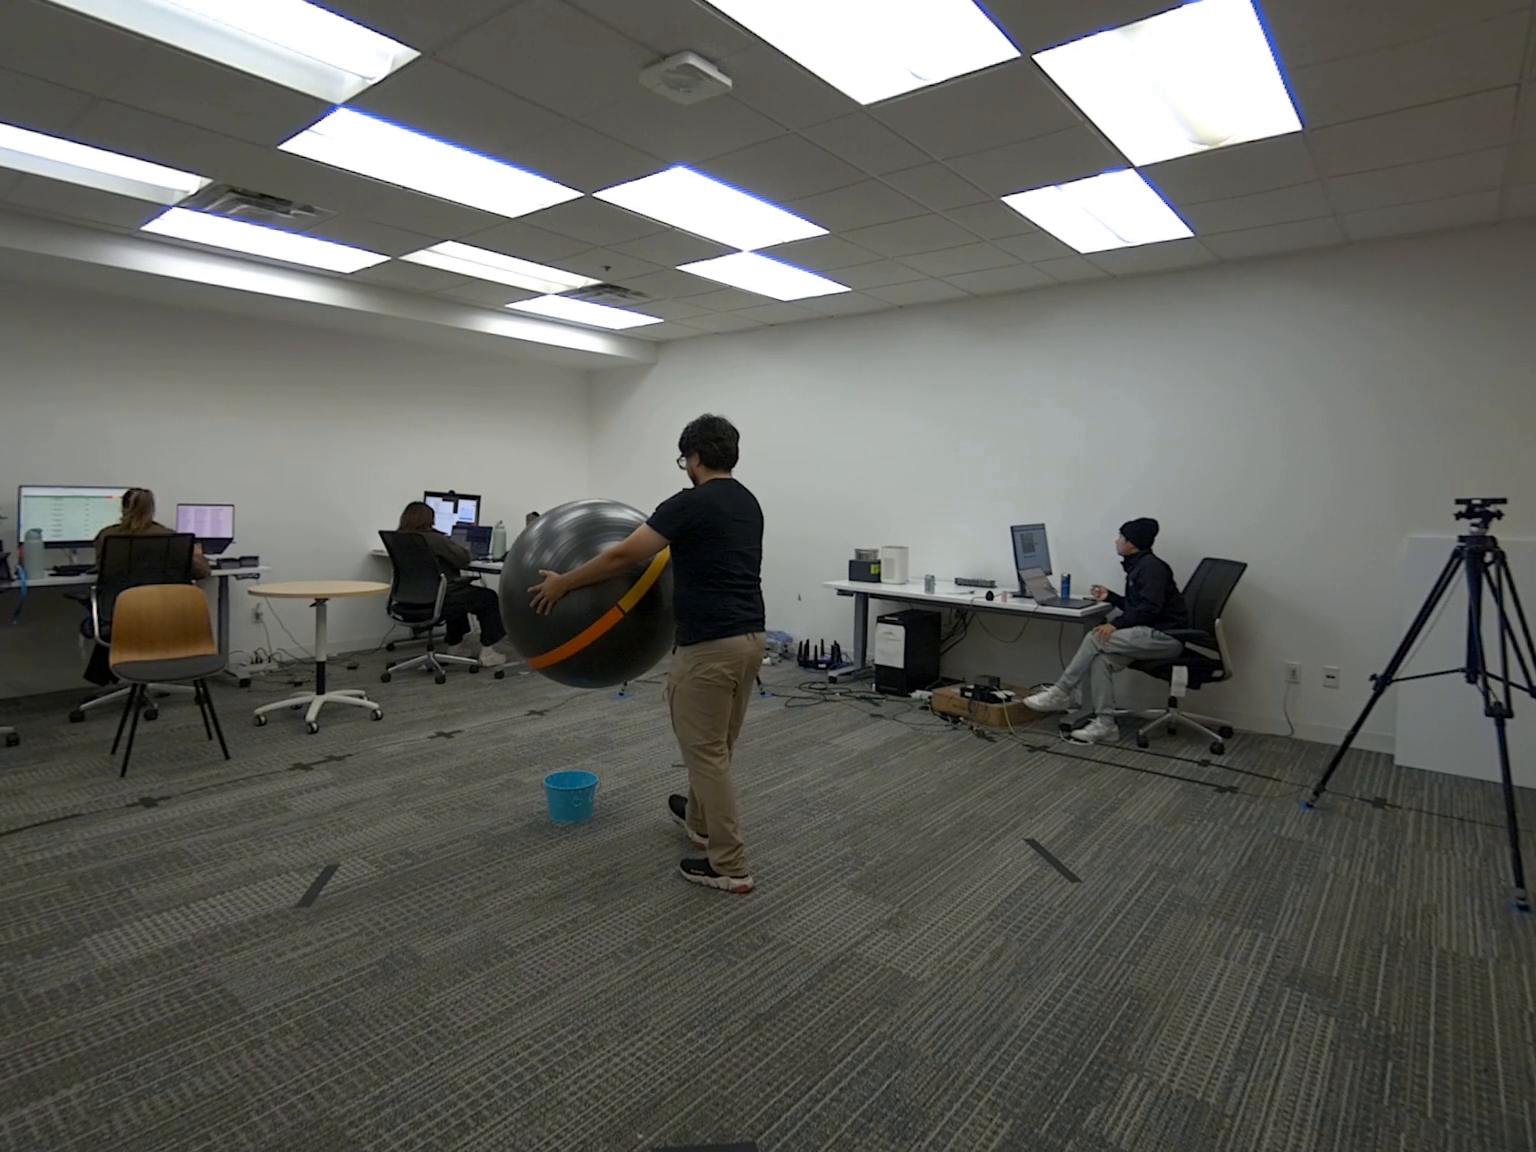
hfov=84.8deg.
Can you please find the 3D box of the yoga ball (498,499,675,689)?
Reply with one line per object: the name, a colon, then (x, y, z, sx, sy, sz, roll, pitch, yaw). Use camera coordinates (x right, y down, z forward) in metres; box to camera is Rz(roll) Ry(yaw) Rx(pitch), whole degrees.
yoga ball: (-0.716, 0.077, 3.438, 0.757, 0.756, 0.762, 1, 4, -2)
